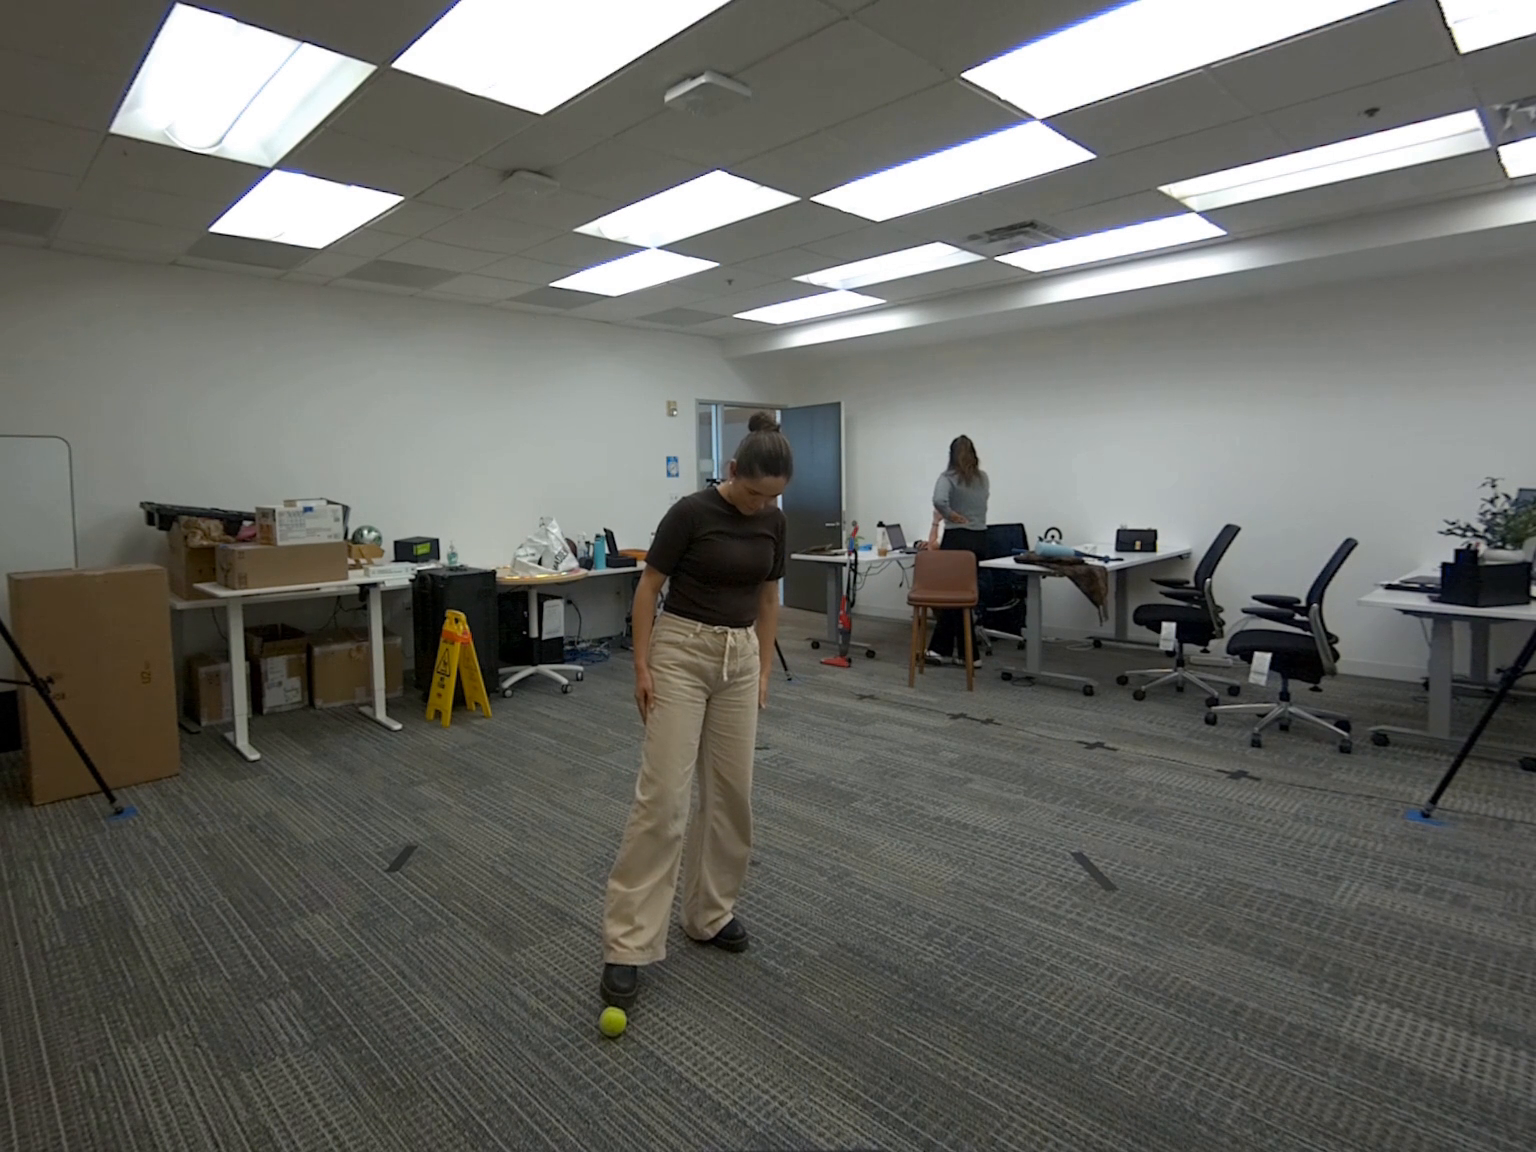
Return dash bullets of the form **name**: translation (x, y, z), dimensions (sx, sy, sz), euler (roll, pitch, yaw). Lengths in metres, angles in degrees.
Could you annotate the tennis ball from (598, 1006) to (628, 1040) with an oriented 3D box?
- **tennis ball**: translation (-0.391, 1.129, 2.155), dimensions (0.066, 0.066, 0.067), euler (-1, 5, -2)
